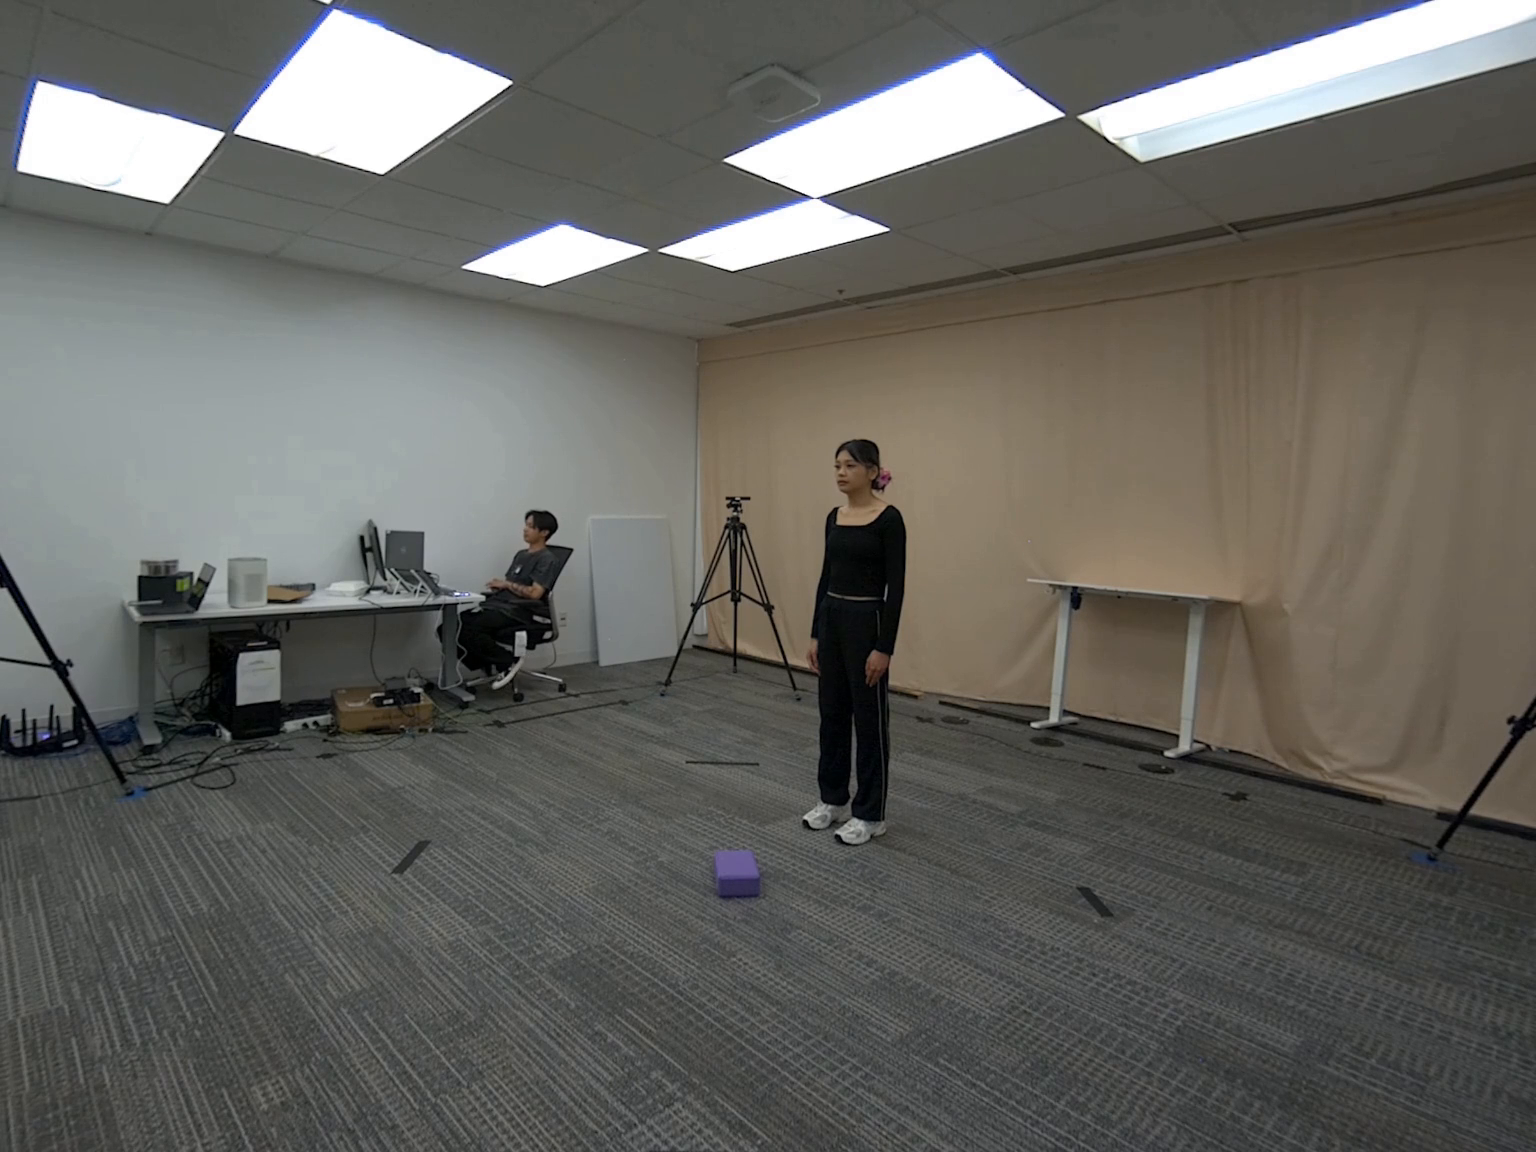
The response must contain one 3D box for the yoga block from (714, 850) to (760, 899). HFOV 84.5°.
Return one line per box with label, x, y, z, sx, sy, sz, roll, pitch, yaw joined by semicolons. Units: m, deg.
yoga block;-0.123;1.073;3.041;0.148;0.076;0.231;0;5;-6
